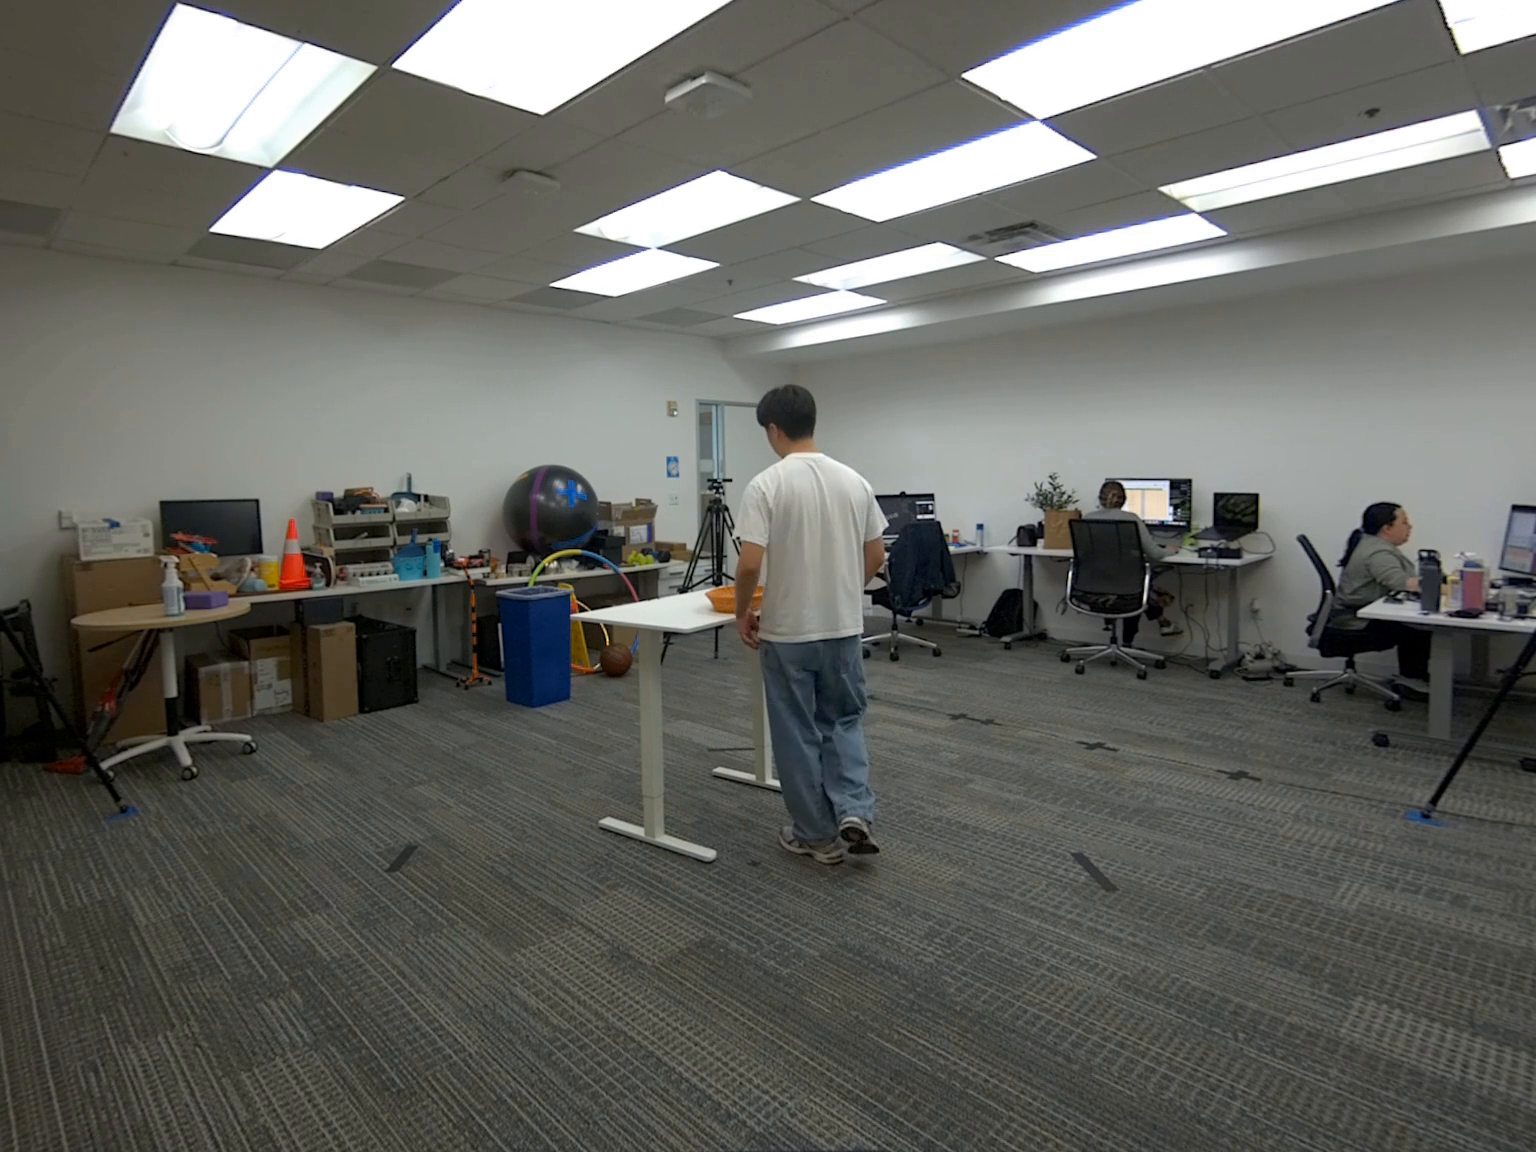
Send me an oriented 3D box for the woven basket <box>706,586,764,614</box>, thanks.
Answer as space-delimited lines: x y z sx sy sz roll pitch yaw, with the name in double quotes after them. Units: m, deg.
-0.112 0.096 3.422 0.256 0.073 0.347 0 6 15 "woven basket"
